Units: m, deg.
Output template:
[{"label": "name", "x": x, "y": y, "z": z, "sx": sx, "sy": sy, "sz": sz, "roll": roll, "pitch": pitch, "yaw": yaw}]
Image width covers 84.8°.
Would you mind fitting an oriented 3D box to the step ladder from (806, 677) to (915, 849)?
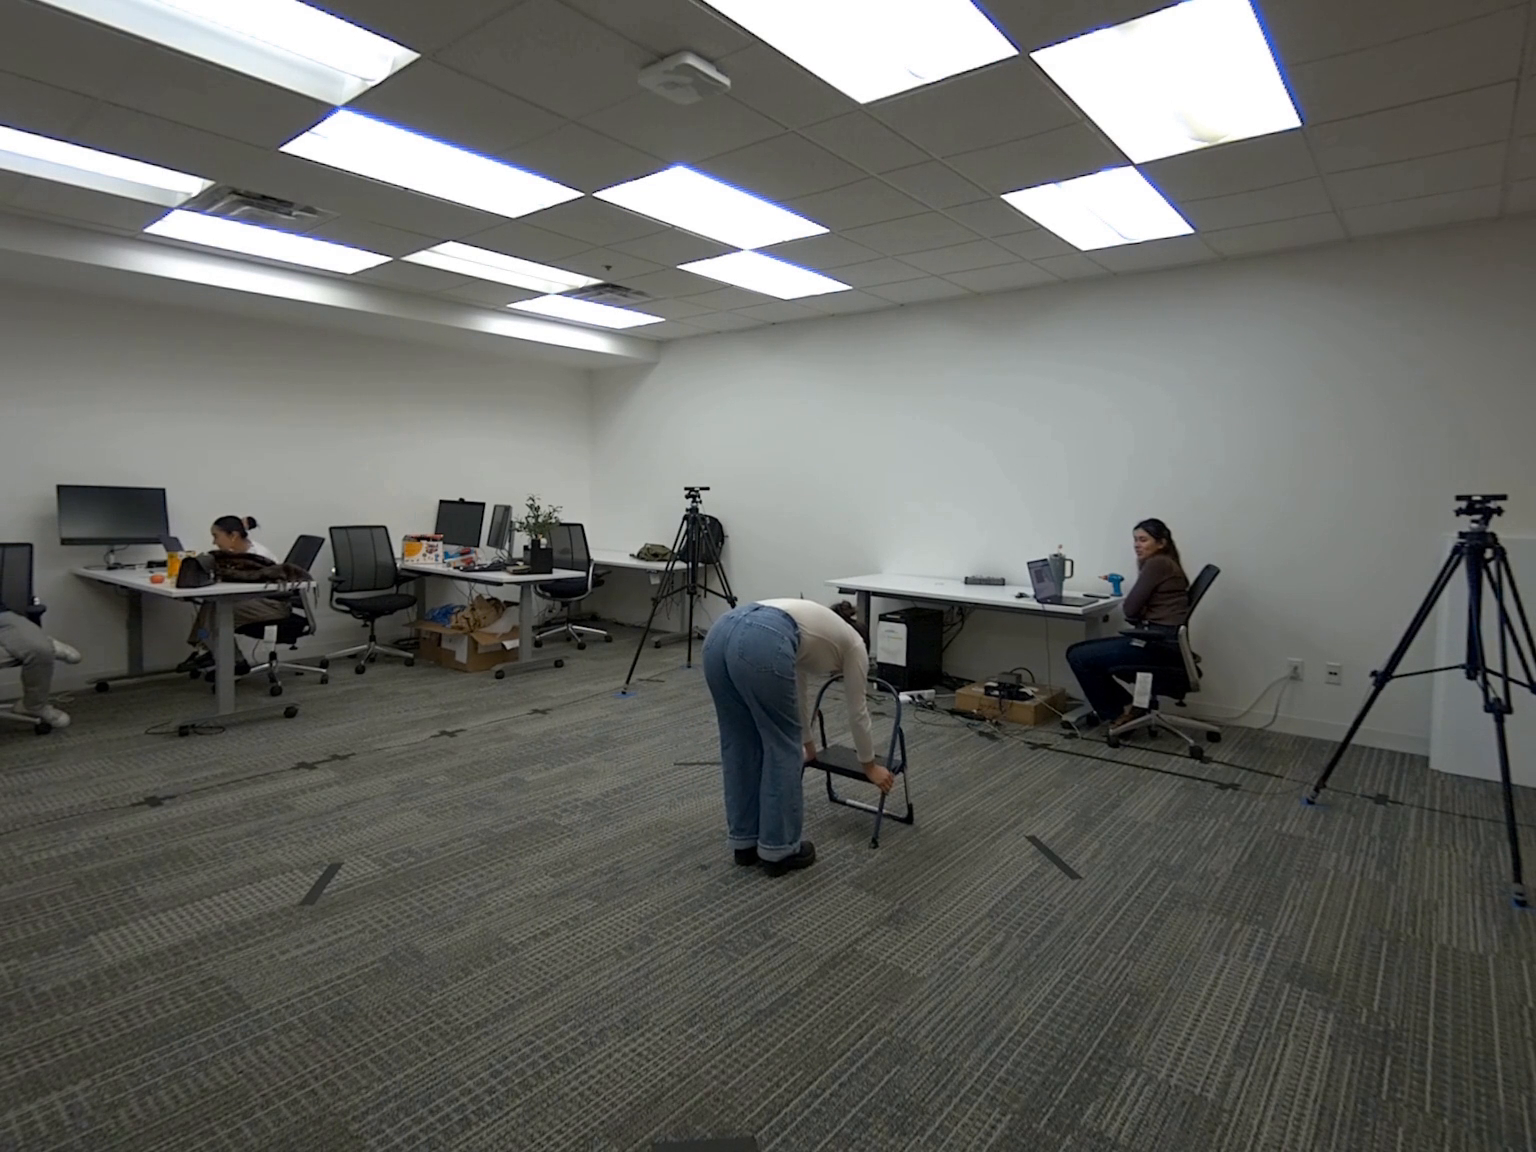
[{"label": "step ladder", "x": 0.351, "y": 0.727, "z": 3.560, "sx": 0.445, "sy": 0.604, "sz": 0.339, "roll": 4, "pitch": 4, "yaw": 38}]
